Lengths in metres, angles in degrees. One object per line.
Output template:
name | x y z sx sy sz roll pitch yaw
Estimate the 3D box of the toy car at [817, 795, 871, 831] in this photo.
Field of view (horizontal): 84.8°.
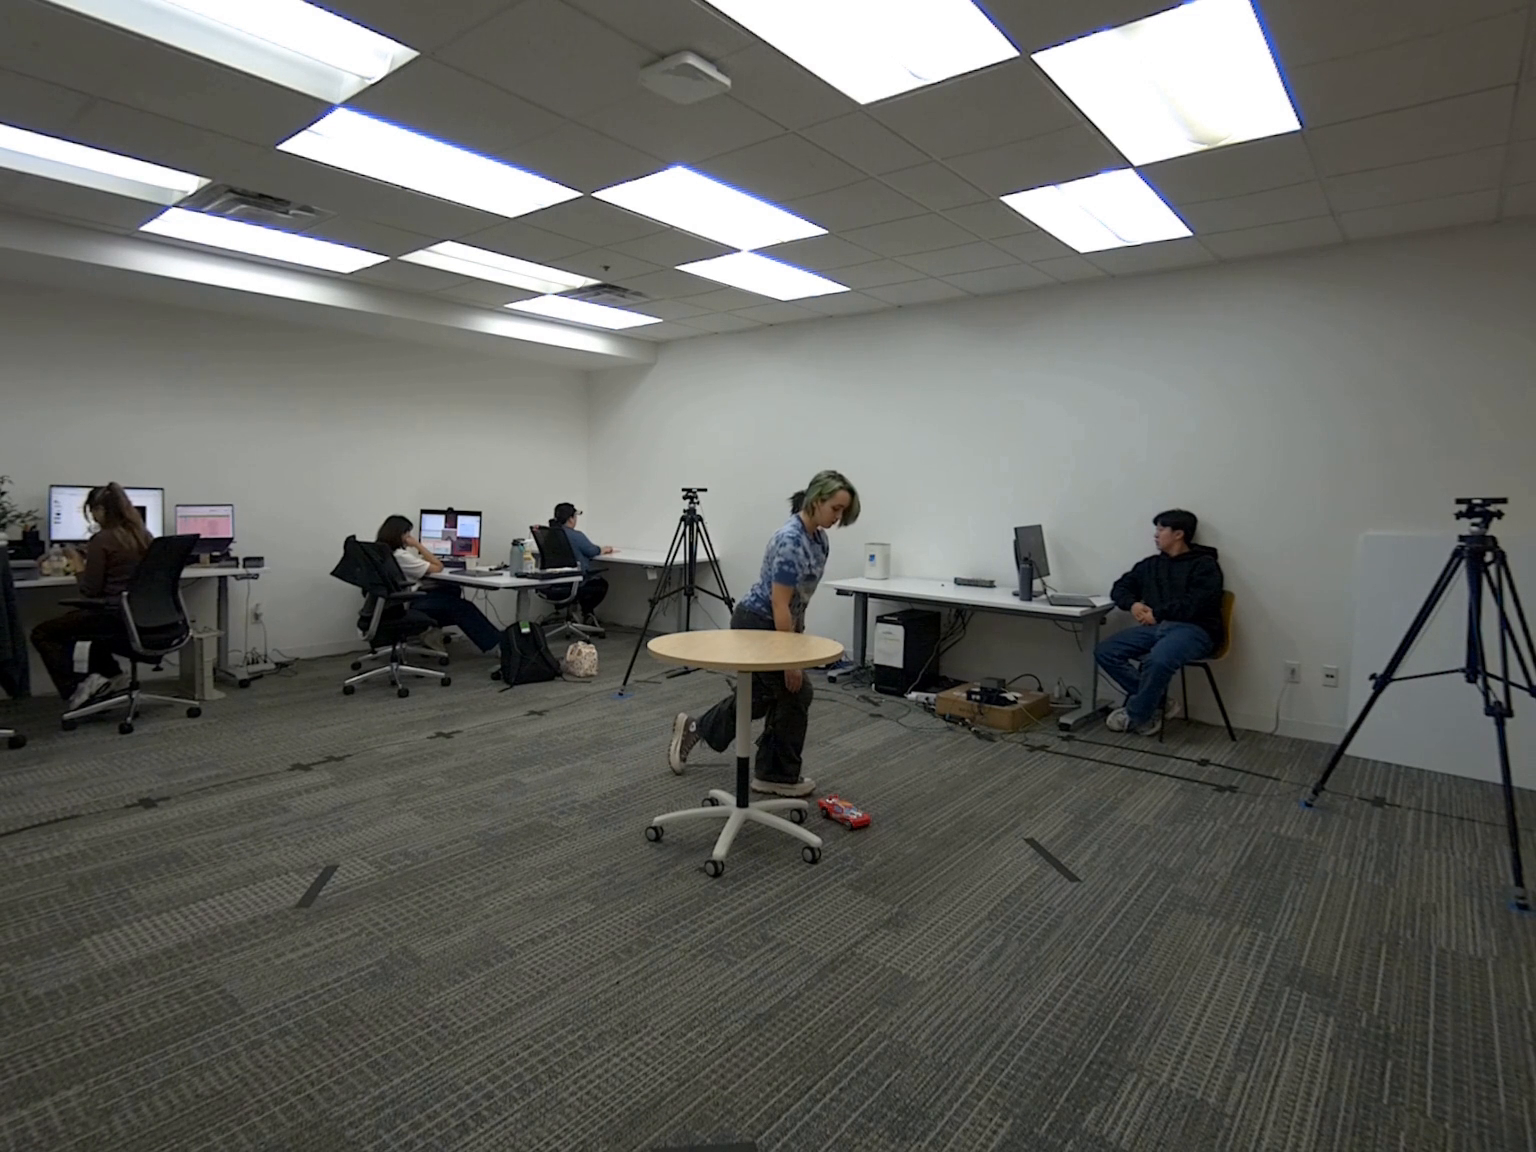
toy car | 0.310 1.000 3.607 0.126 0.082 0.265 -1 16 -35
